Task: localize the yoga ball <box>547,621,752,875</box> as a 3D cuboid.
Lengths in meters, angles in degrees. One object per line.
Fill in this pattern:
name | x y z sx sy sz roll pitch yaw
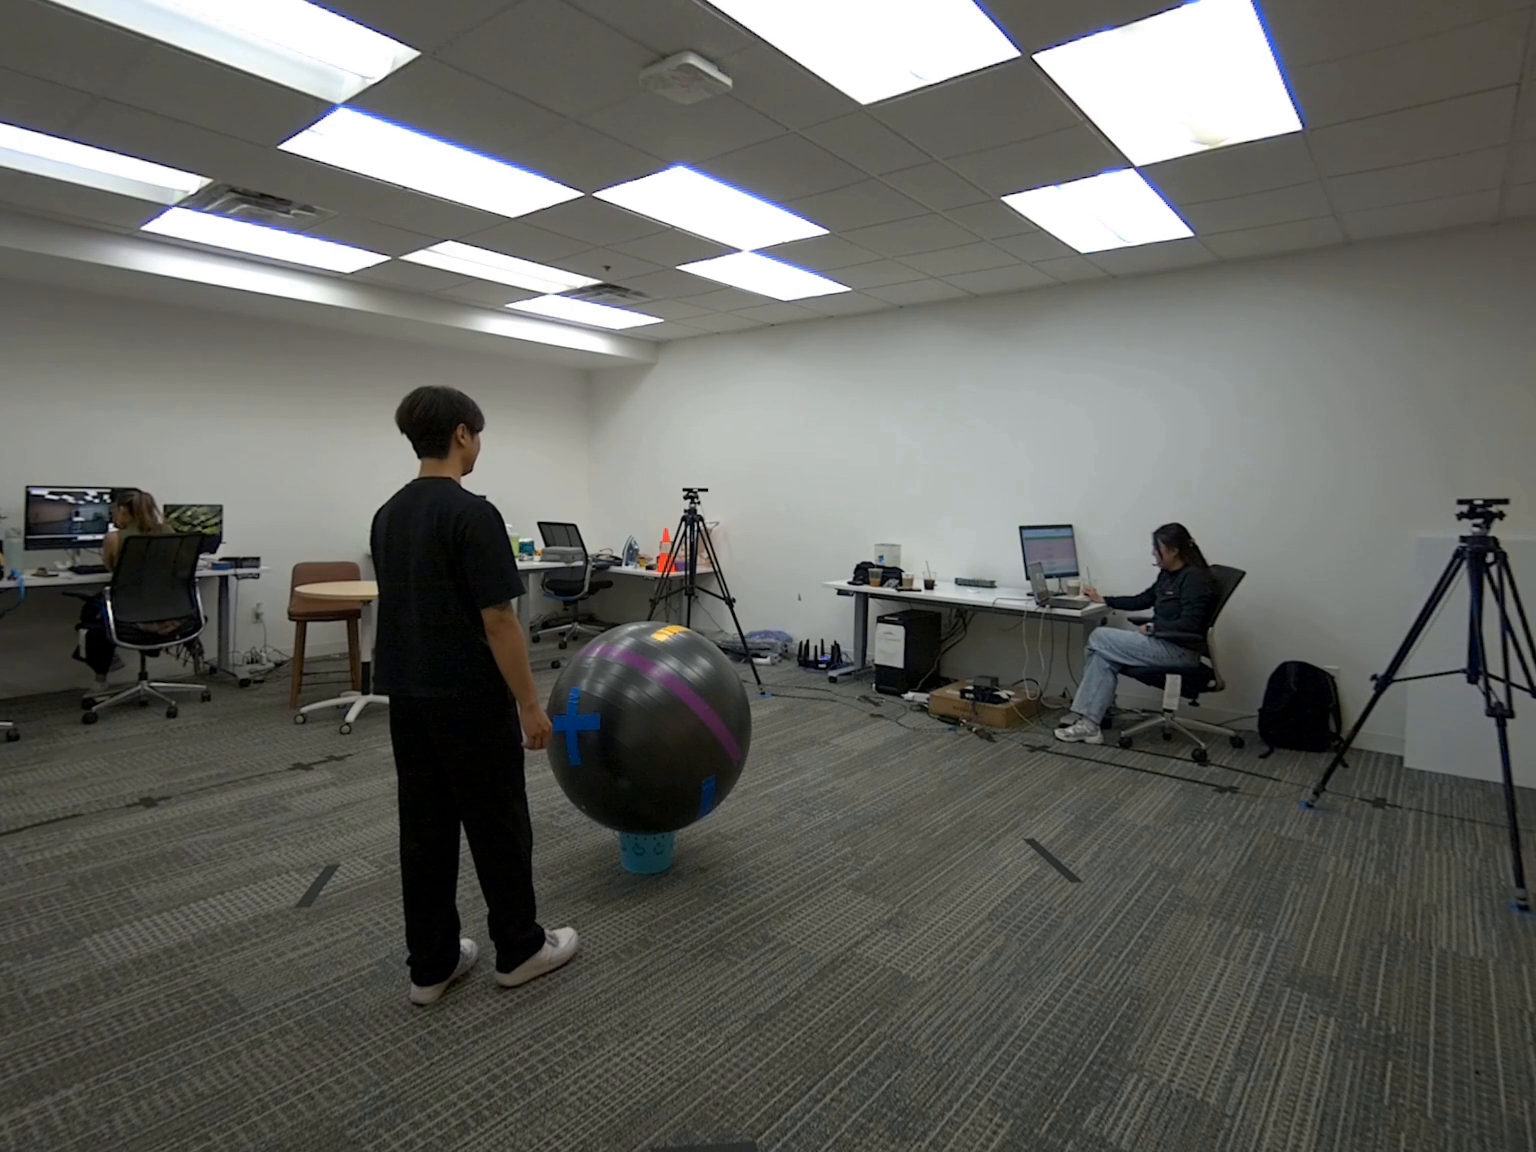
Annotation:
yoga ball | -0.449 0.550 3.130 0.757 0.755 0.762 1 4 -2
